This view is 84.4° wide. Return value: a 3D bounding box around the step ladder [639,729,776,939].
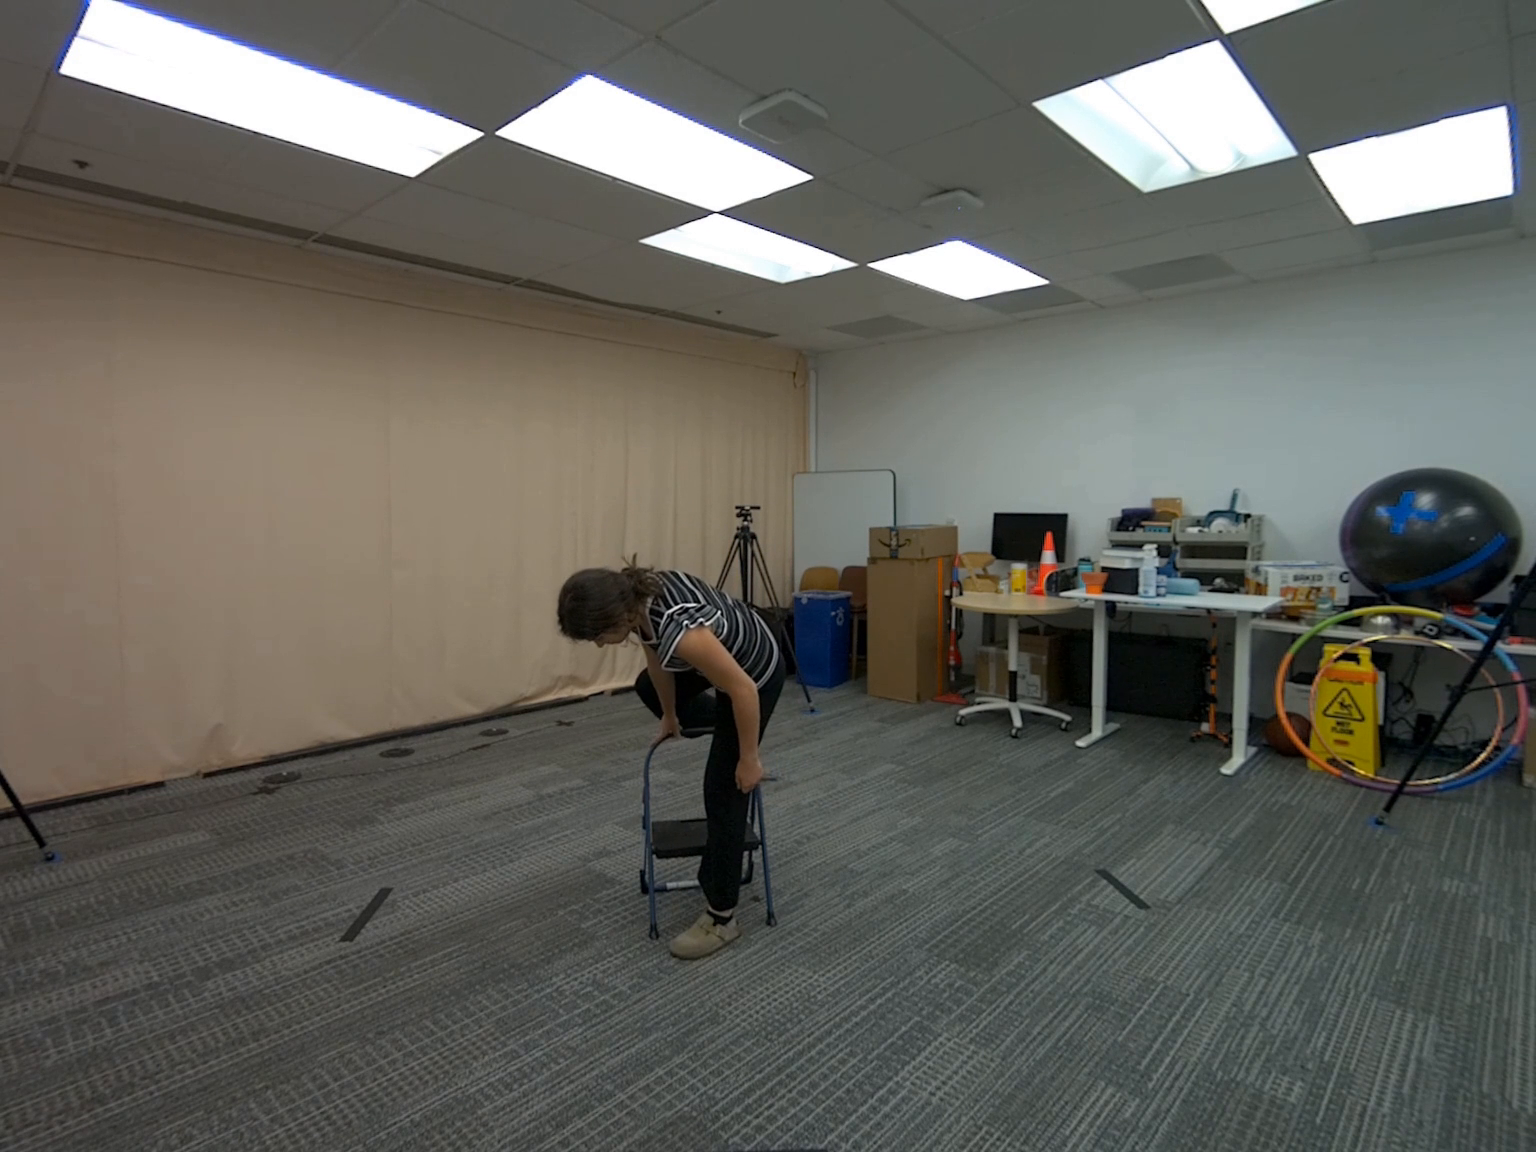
[{"bbox_3d":[-0.220,0.851,2.910,0.425,0.605,0.355,-1,3,-13],"label":"step ladder"}]
